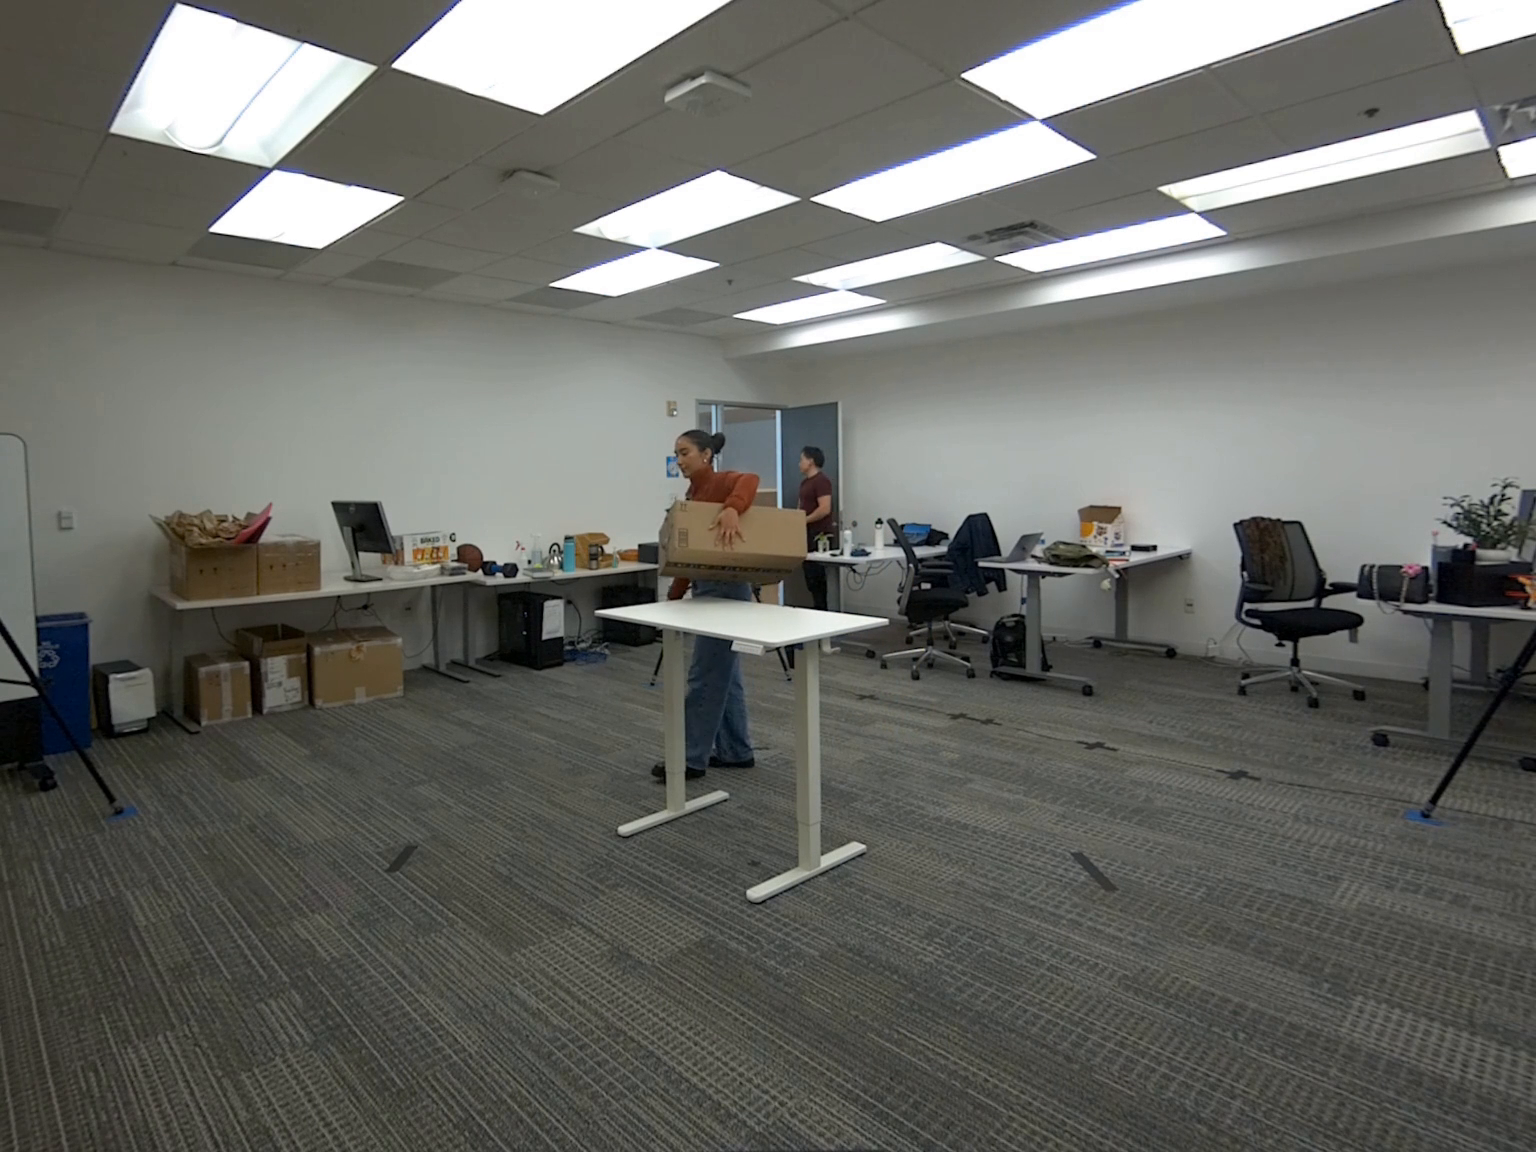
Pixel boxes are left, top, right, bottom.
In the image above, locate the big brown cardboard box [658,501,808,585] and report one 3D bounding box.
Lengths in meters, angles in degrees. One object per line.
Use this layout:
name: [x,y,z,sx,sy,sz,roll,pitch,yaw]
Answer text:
big brown cardboard box: [-0.171,-0.142,3.725,0.581,0.237,0.417,5,-17,-13]
